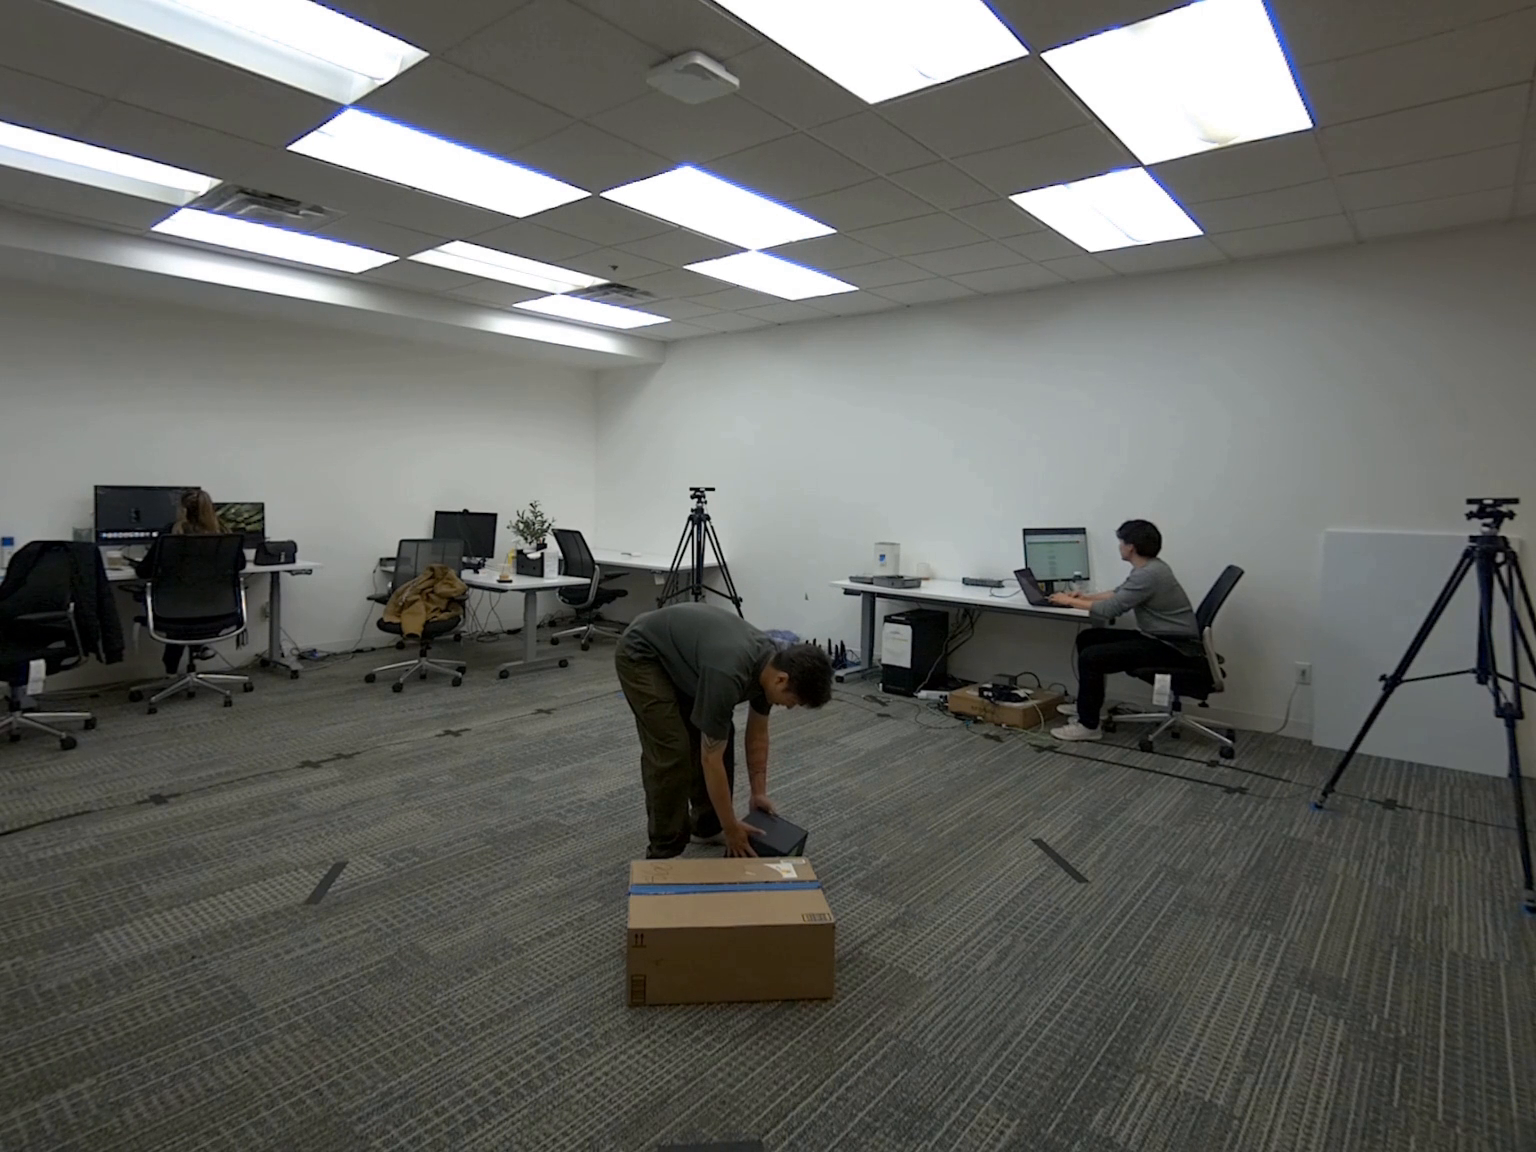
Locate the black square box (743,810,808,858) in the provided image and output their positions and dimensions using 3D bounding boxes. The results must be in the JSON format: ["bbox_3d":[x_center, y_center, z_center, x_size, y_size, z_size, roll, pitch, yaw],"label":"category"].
[{"bbox_3d":[-0.010,0.979,3.040,0.222,0.155,0.223,16,8,19],"label":"black square box"}]
